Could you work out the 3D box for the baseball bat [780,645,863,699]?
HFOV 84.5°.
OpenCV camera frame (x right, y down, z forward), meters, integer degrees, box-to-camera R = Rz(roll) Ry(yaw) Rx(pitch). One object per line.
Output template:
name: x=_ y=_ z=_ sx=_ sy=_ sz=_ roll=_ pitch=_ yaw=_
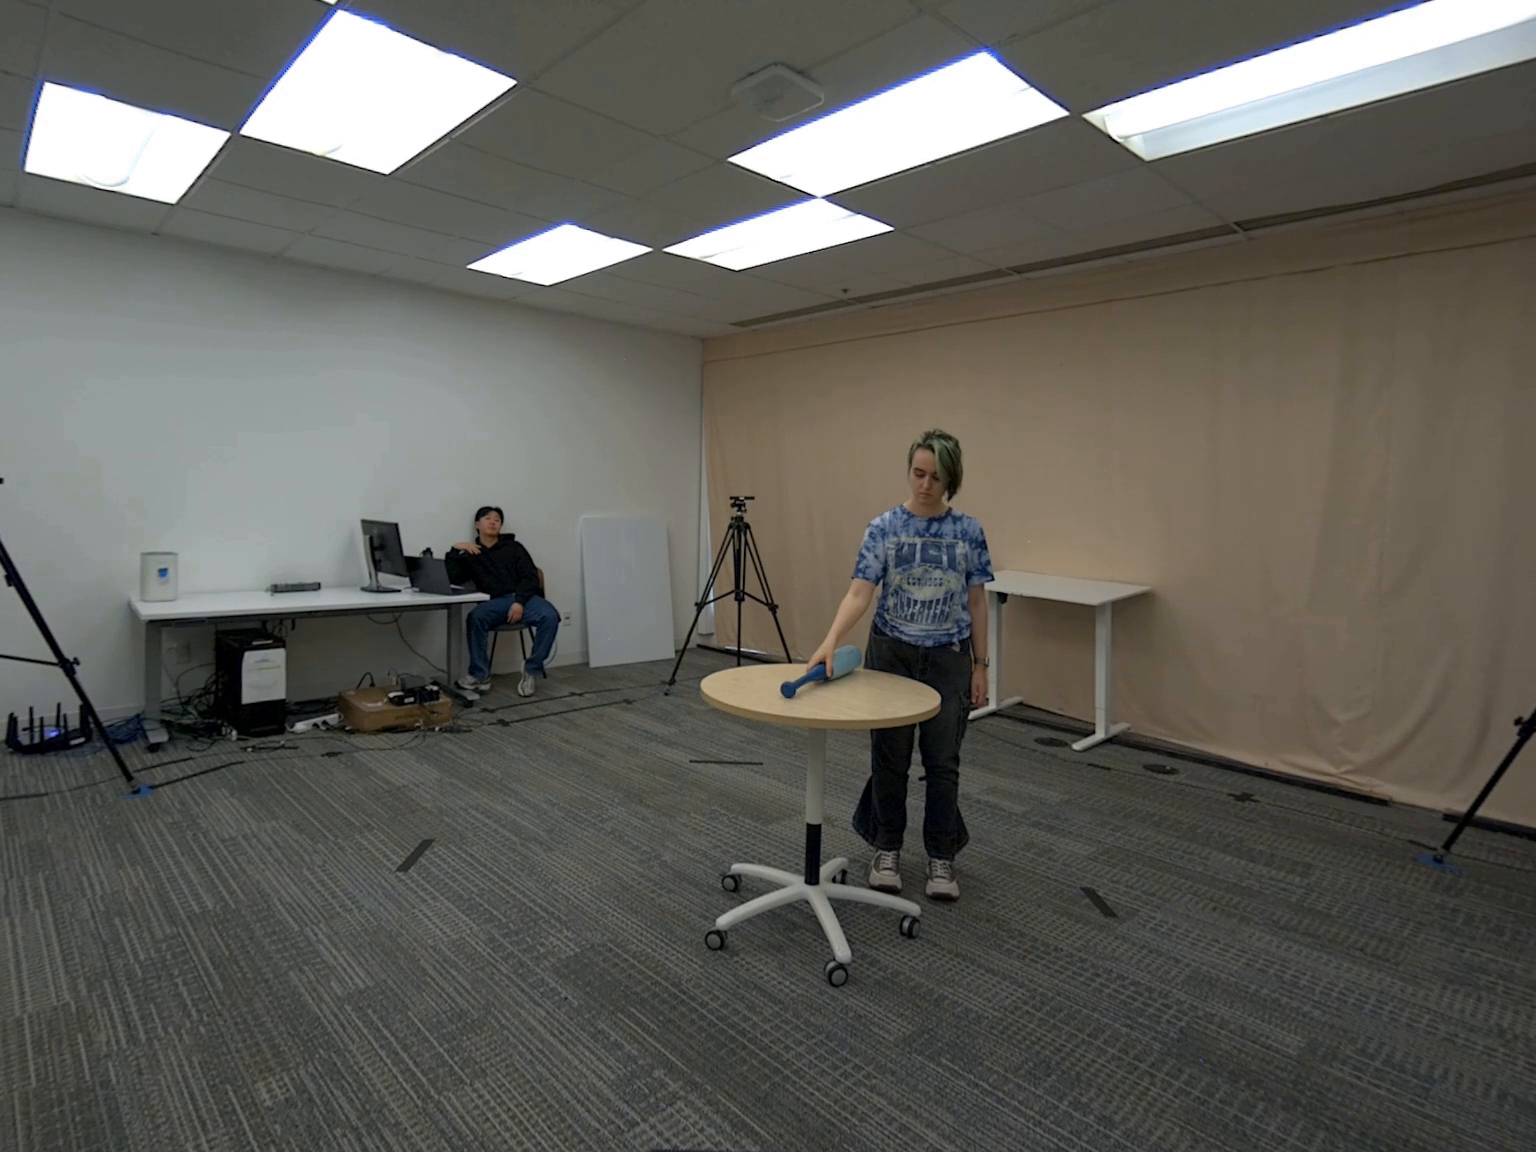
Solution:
baseball bat: x=0.174 y=0.322 z=2.779 sx=0.091 sy=0.088 sz=0.535 roll=3 pitch=9 yaw=25
